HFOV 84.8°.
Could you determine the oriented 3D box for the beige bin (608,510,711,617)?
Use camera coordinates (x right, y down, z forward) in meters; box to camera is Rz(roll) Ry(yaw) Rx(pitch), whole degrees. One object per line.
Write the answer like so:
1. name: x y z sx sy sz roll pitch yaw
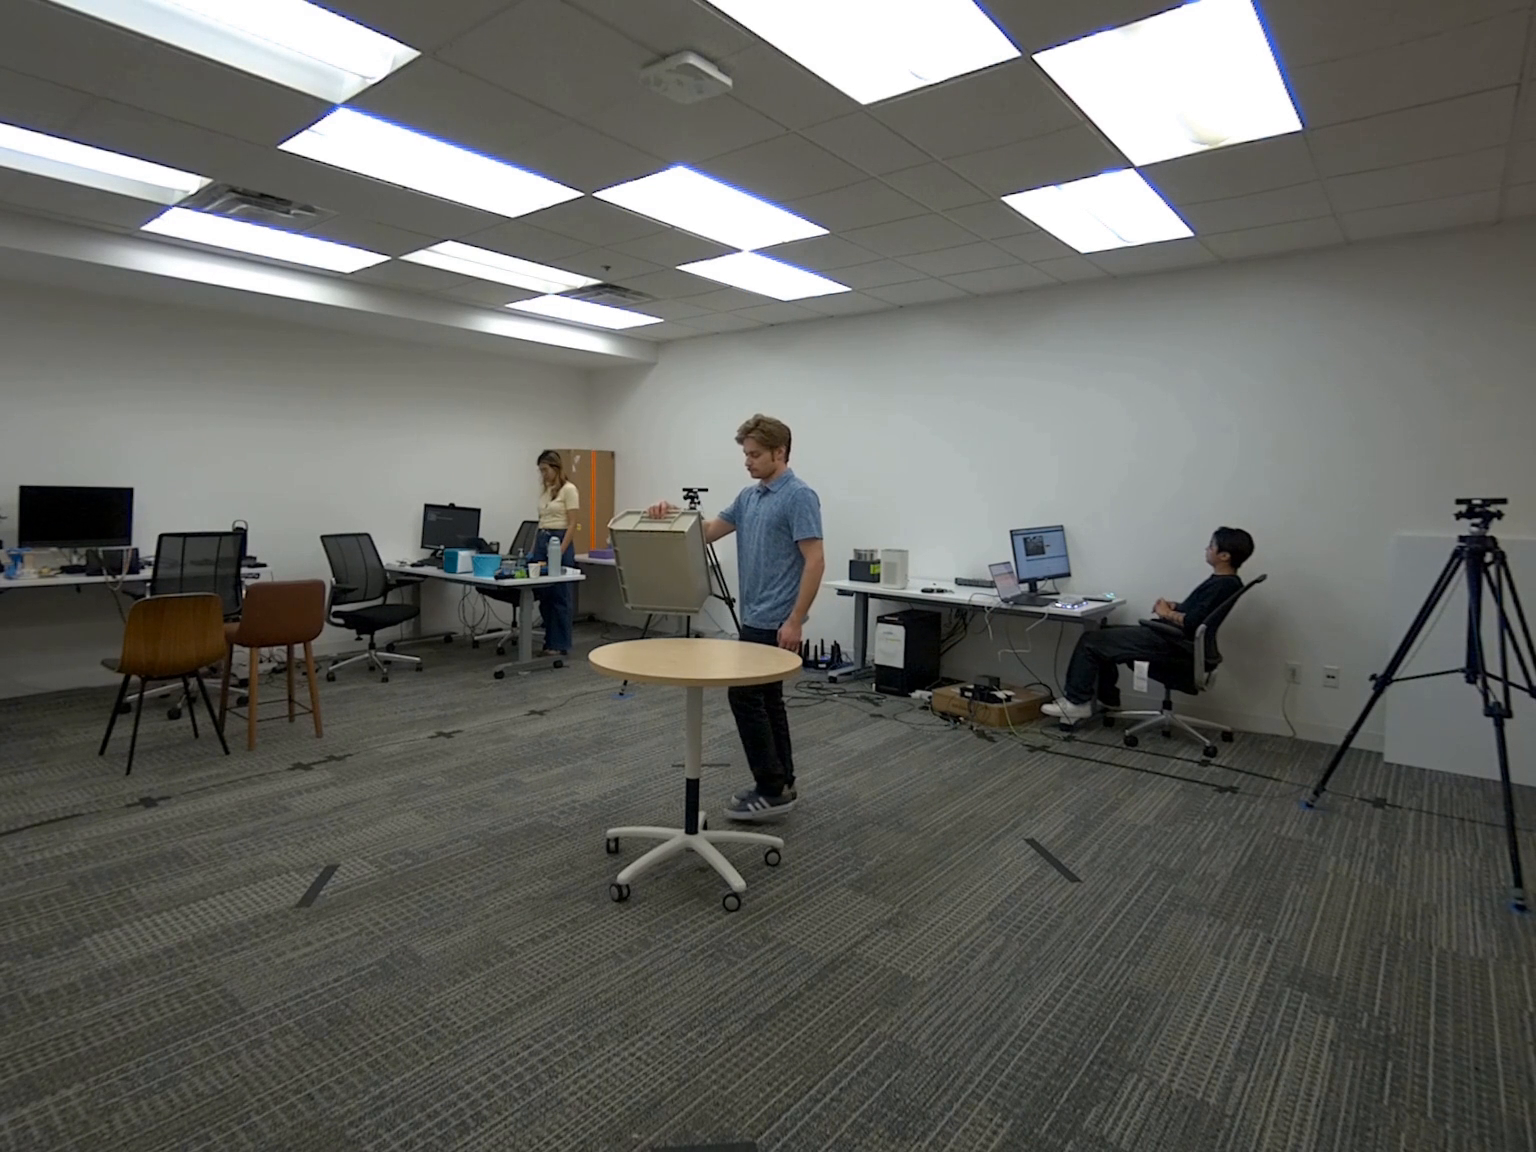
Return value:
1. beige bin: -0.484 -0.064 3.693 0.385 0.411 0.190 3 29 19
